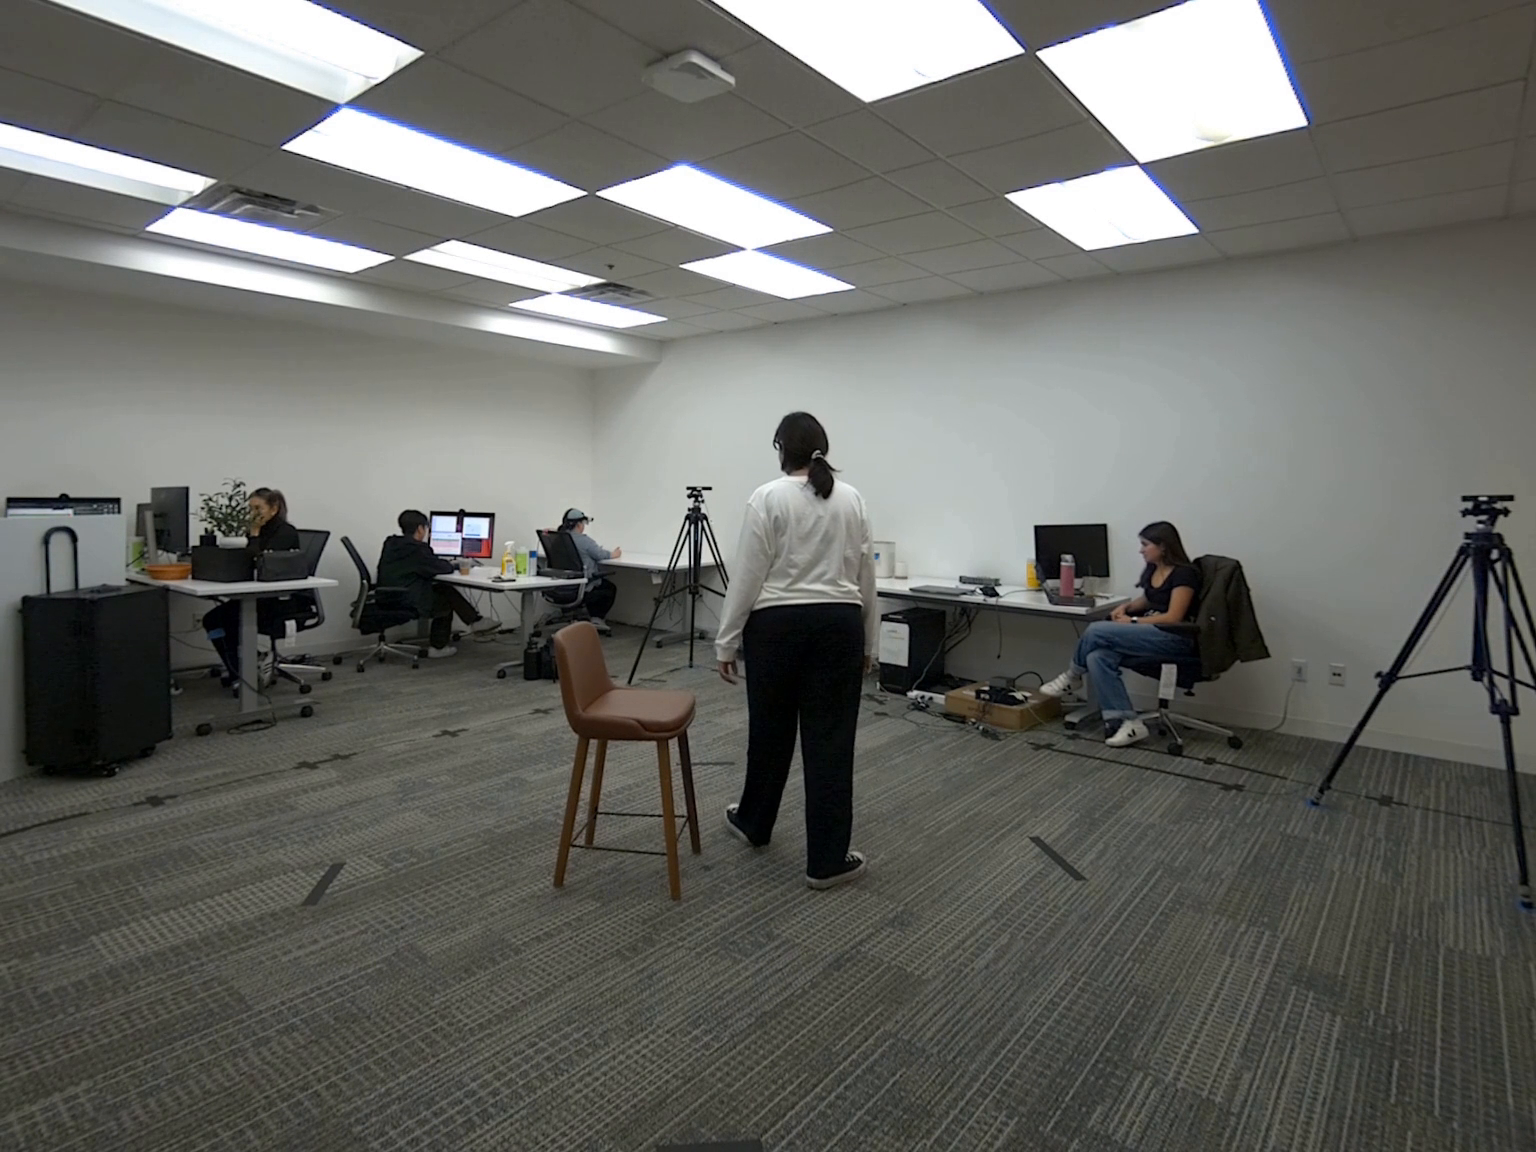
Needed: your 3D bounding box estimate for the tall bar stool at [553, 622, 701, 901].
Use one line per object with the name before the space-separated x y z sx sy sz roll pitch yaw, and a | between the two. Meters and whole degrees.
tall bar stool | -0.501 0.632 3.069 0.472 0.888 0.453 0 3 9
